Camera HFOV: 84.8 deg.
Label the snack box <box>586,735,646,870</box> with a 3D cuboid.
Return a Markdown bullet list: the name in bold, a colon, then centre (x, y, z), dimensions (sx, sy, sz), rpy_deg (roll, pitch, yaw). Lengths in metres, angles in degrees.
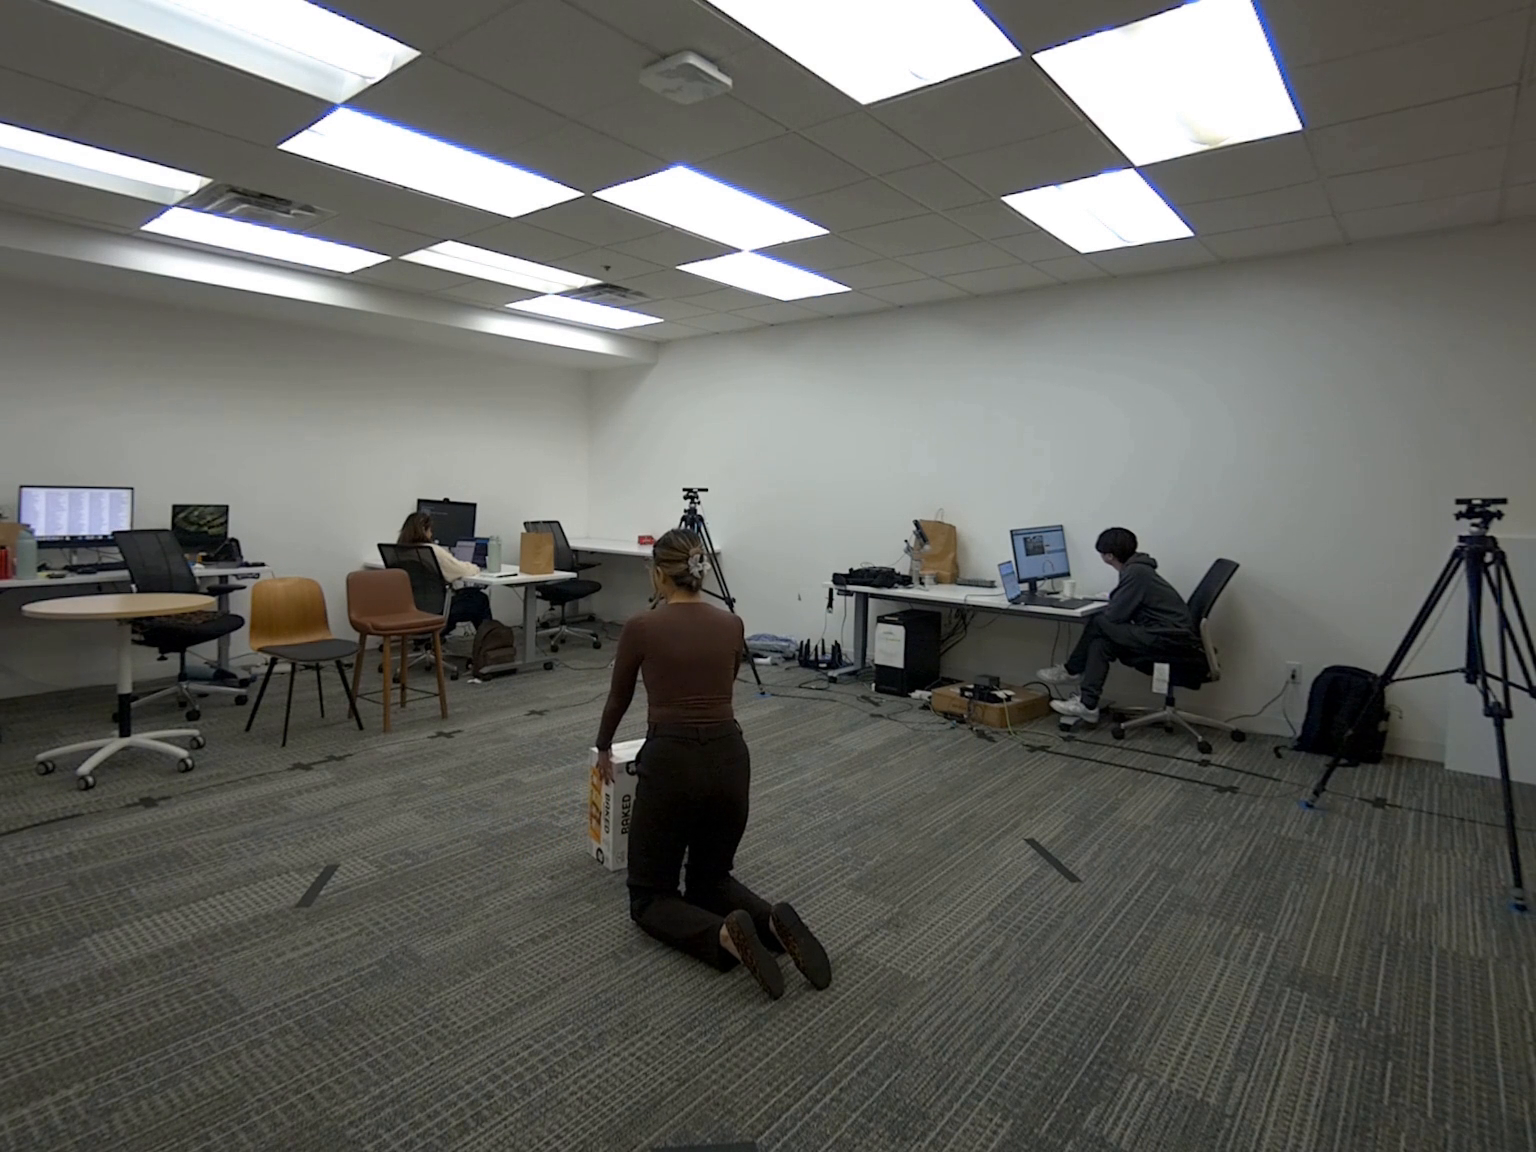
- **snack box**: centre (-0.495, 0.847, 3.231), dimensions (0.330, 0.404, 0.212), rpy_deg (-2, 5, -37)
